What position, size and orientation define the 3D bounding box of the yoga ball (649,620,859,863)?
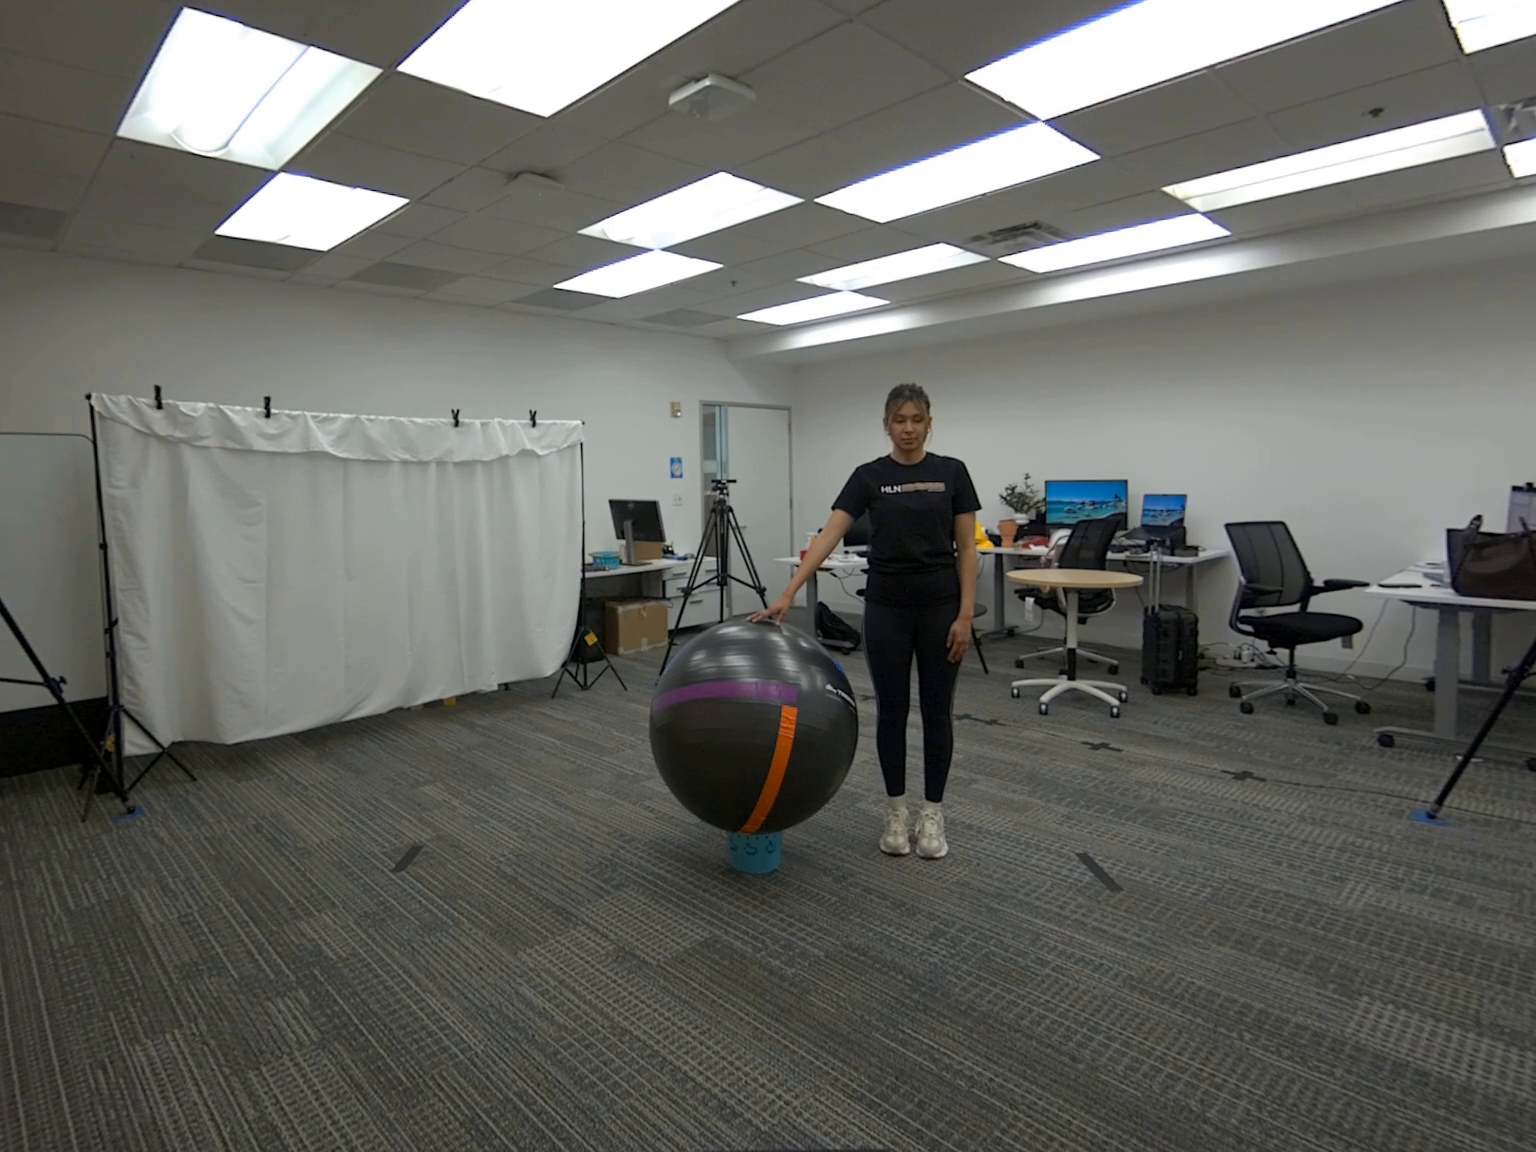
[{"bbox_3d":[-0.050,0.539,3.103,0.757,0.755,0.762,-1,5,-2],"label":"yoga ball"}]
